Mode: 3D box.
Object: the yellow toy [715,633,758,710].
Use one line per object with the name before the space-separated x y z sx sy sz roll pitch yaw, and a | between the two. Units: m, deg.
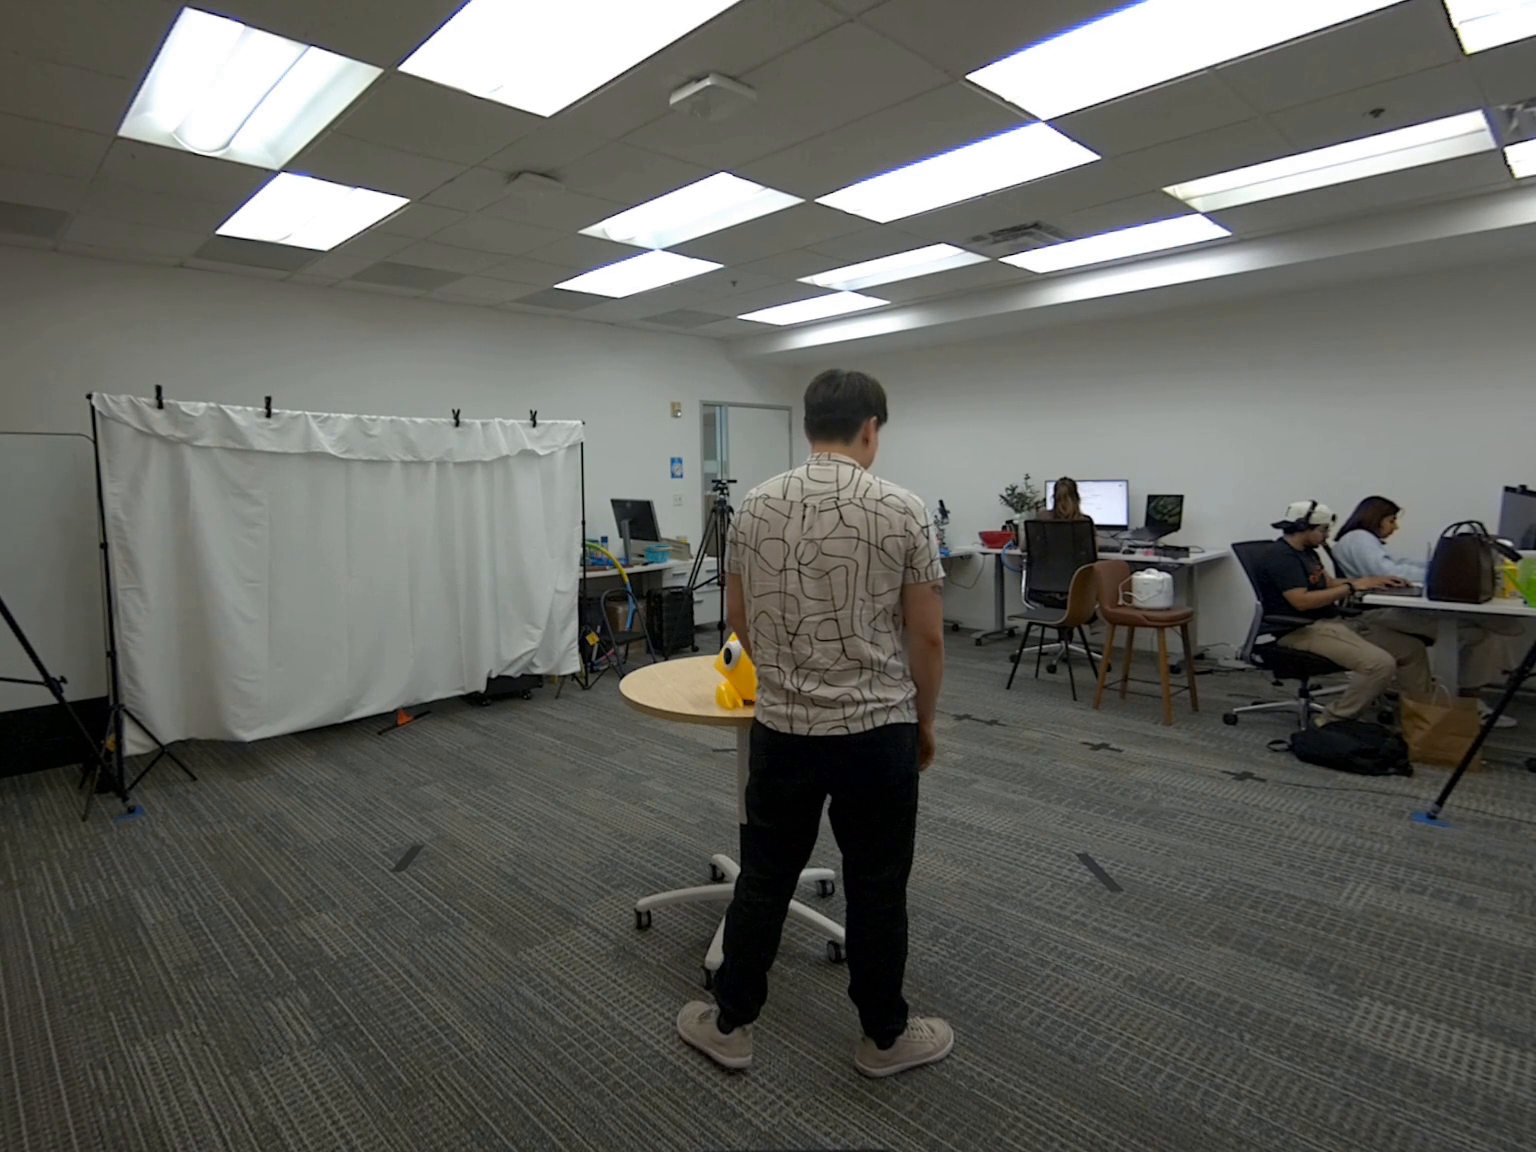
yellow toy | -0.042 0.236 2.377 0.204 0.230 0.195 -2 5 -4
